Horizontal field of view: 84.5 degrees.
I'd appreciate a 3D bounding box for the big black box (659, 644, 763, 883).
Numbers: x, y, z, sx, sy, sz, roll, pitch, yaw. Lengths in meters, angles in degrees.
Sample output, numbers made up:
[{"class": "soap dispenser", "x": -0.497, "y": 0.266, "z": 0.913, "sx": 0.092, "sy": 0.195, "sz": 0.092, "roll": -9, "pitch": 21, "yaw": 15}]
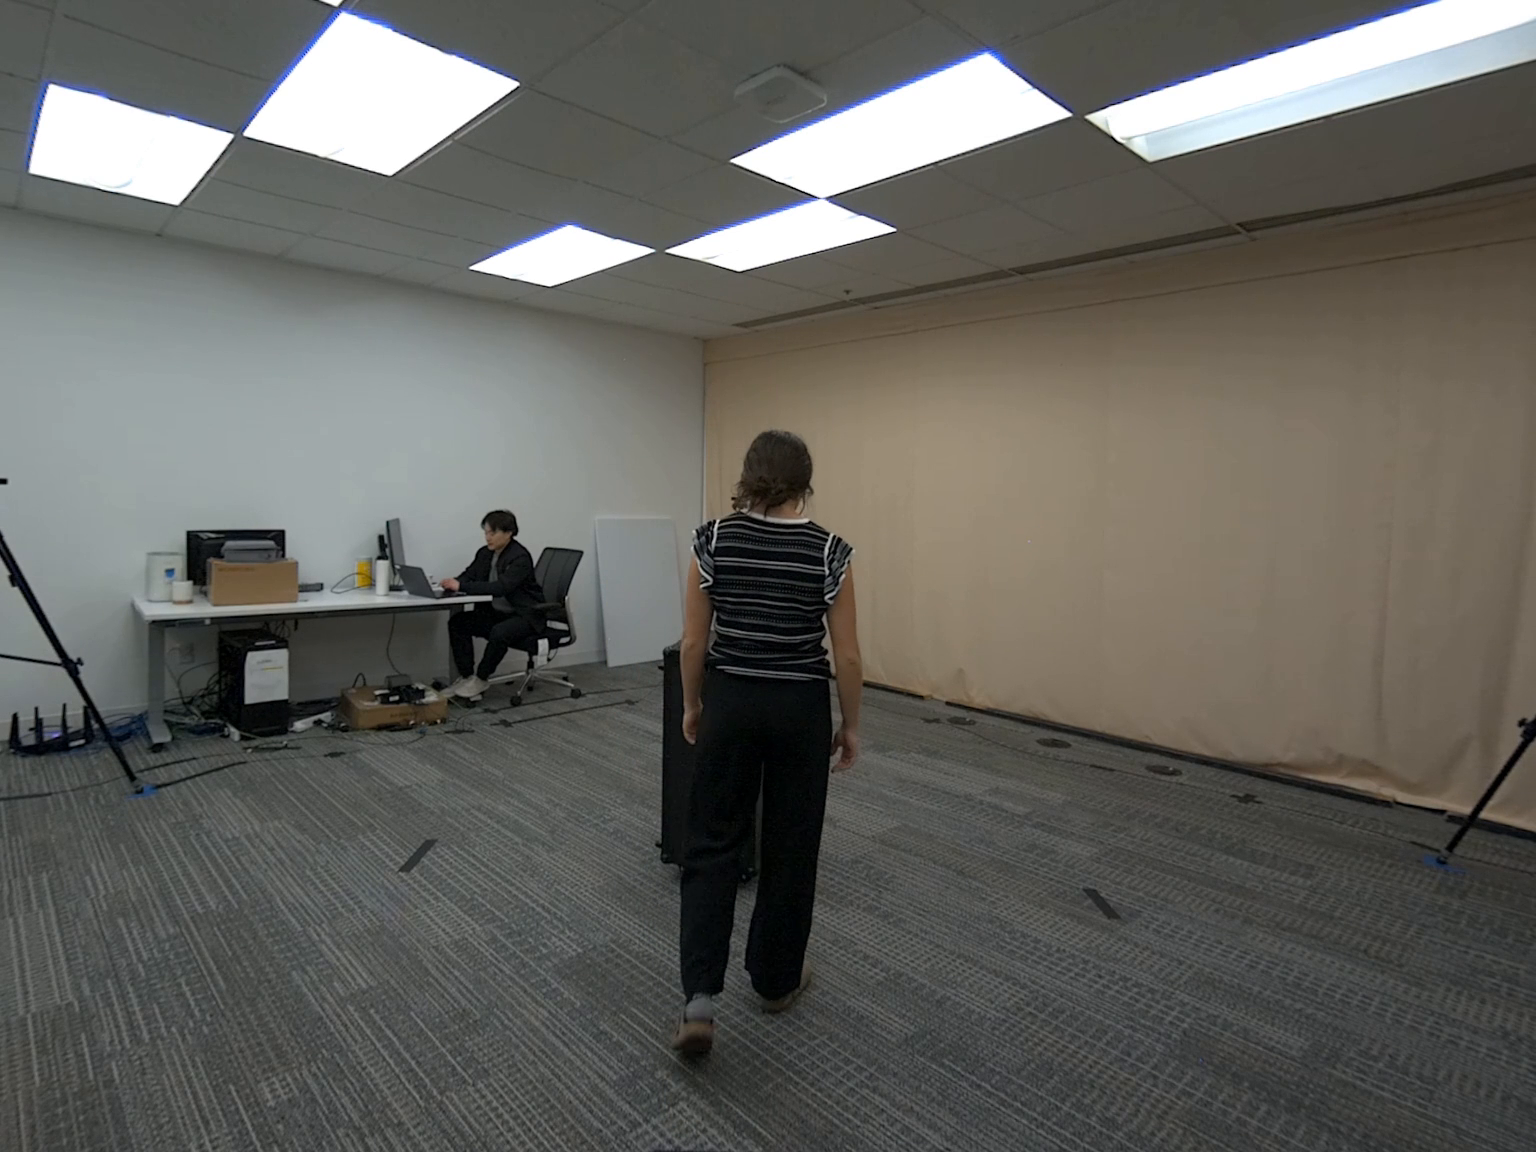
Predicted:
[{"class": "big black box", "x": -0.165, "y": 0.676, "z": 3.201, "sx": 0.401, "sy": 0.860, "sz": 0.515, "roll": 1, "pitch": 3, "yaw": 16}]
